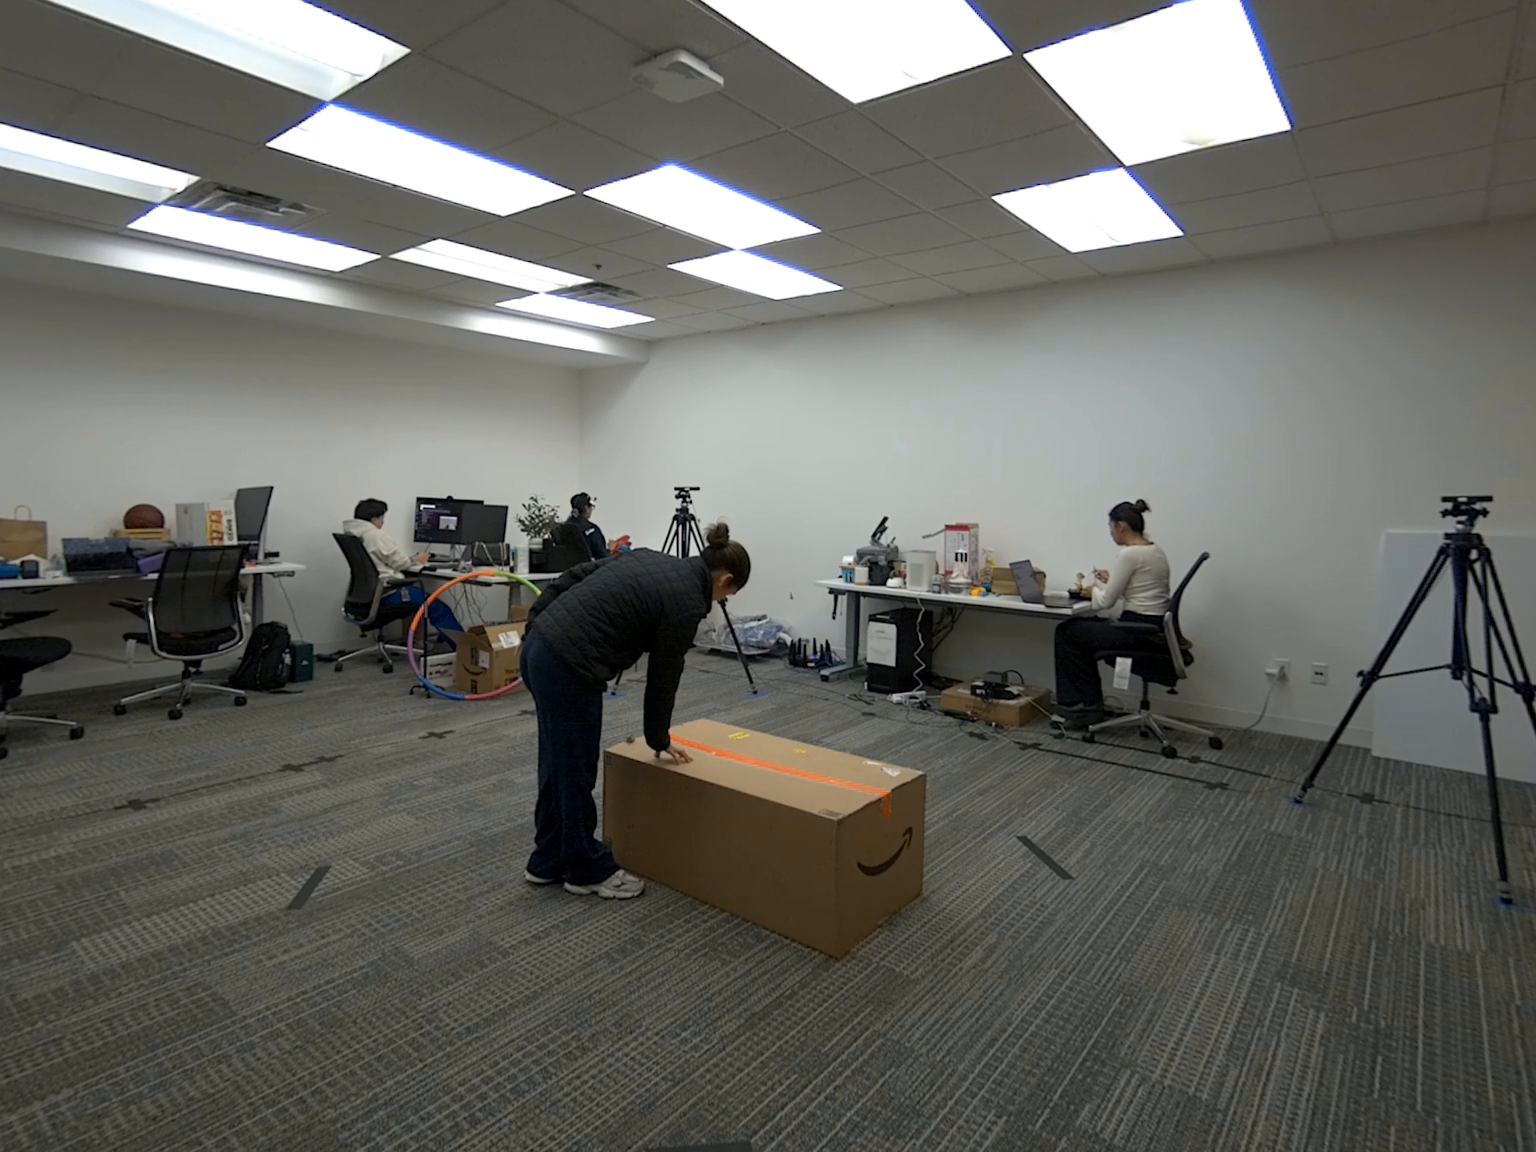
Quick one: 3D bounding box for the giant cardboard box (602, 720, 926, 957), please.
[{"bbox_3d":[-0.023,0.867,3.059,1.062,0.445,0.567,6,8,39],"label":"giant cardboard box"}]
